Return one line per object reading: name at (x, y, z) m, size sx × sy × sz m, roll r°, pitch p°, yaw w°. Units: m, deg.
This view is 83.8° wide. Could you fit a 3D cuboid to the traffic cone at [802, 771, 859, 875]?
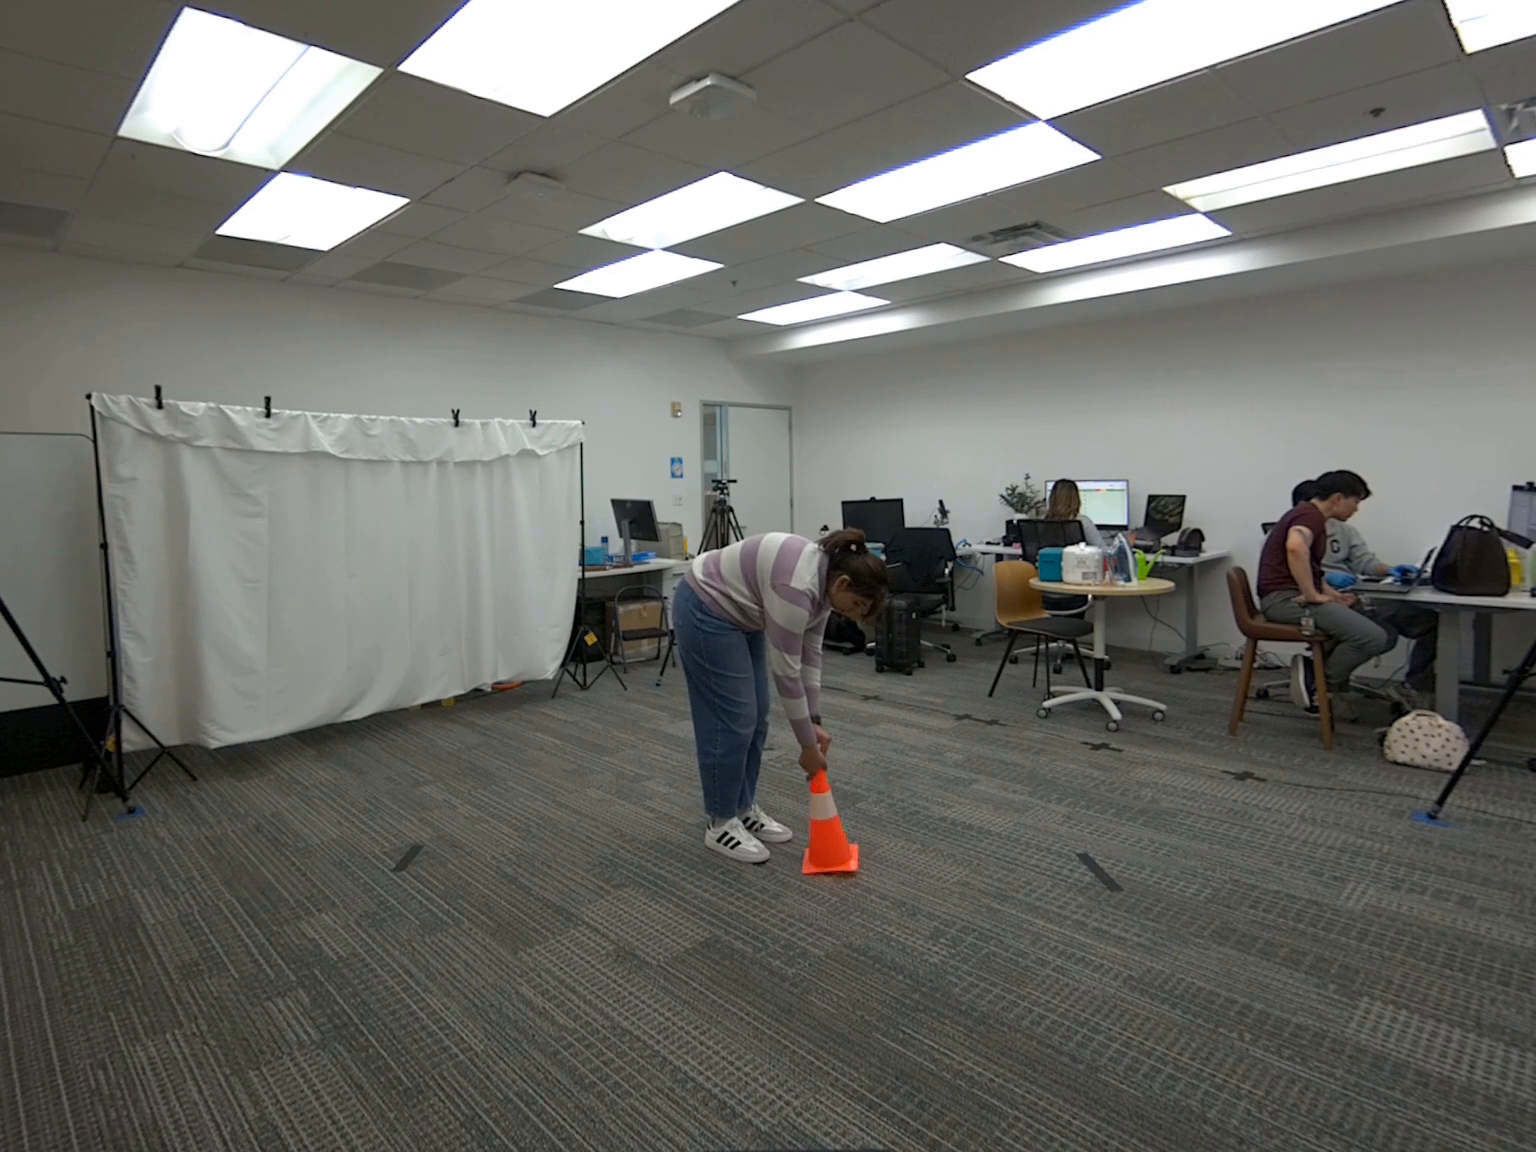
traffic cone at (0.200, 0.845, 3.088) m, size 0.205 × 0.383 × 0.204 m, roll -7°, pitch 2°, yaw 8°
